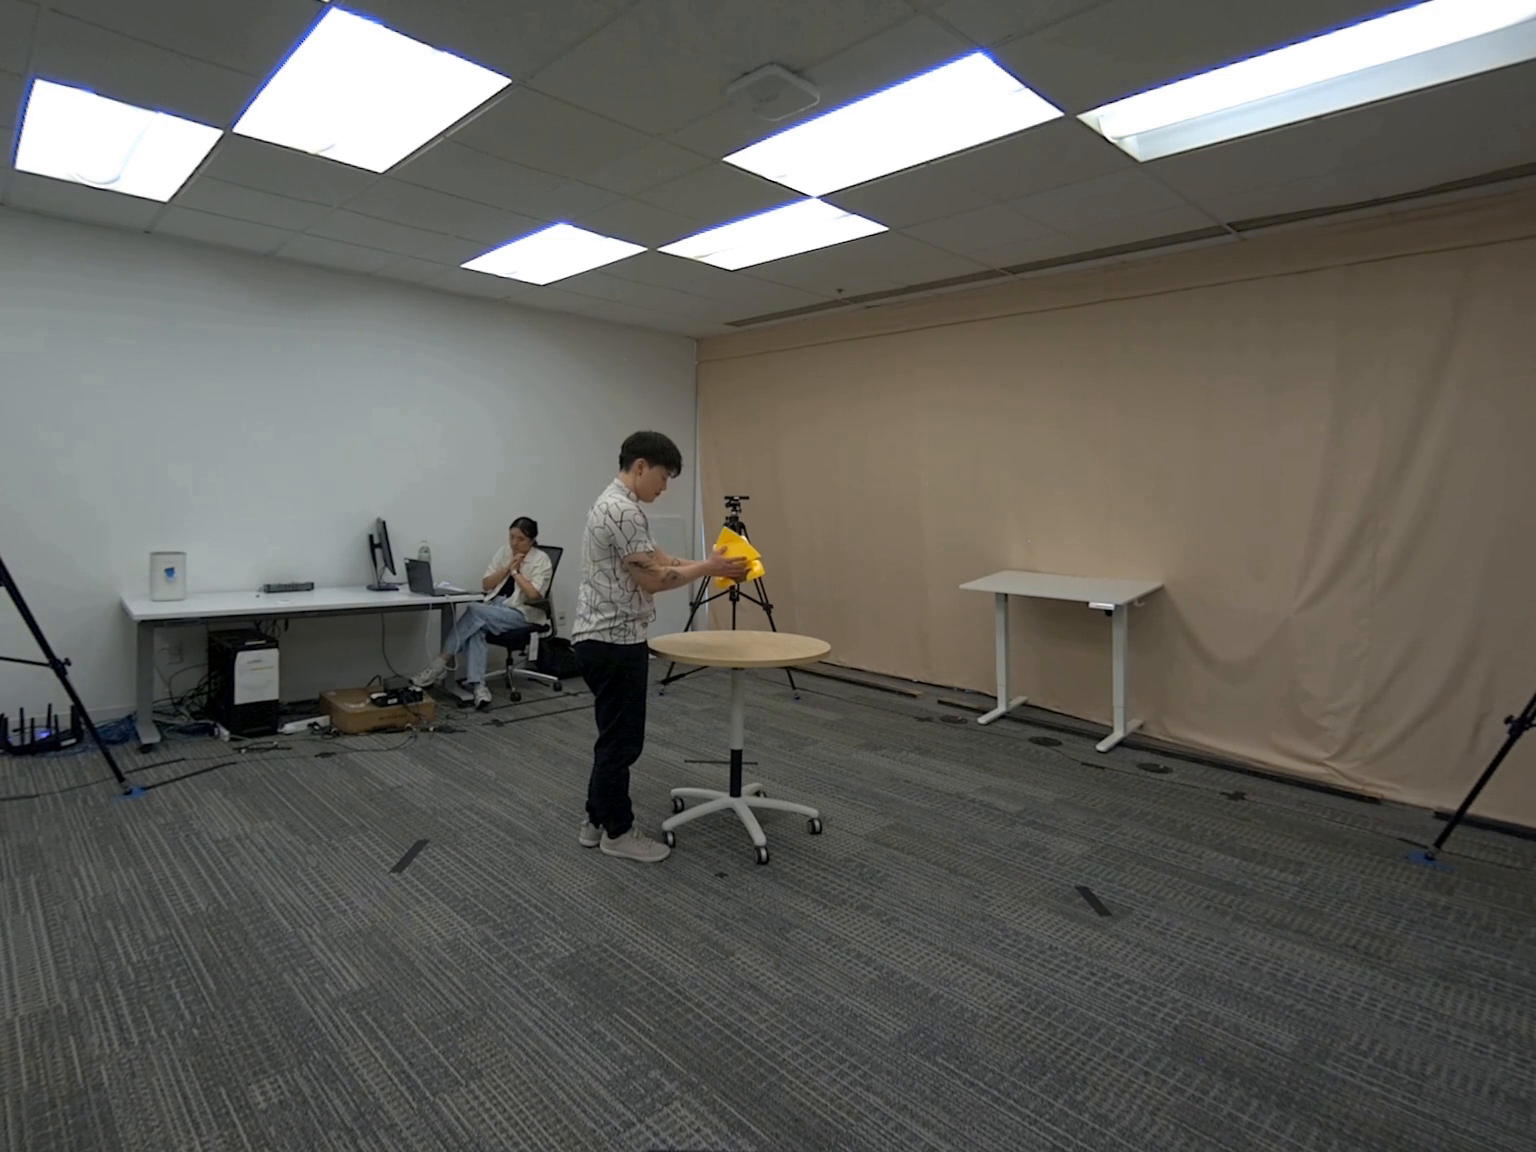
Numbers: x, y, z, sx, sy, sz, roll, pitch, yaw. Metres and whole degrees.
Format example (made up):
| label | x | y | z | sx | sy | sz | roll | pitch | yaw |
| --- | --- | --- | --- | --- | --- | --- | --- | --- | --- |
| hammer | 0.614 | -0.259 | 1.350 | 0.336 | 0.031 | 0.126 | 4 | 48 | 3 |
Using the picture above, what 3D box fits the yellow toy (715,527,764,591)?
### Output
| label | x | y | z | sx | sy | sz | roll | pitch | yaw |
| --- | --- | --- | --- | --- | --- | --- | --- | --- | --- |
| yellow toy | -0.151 | -0.090 | 3.341 | 0.205 | 0.229 | 0.194 | -17 | 7 | -1 |
